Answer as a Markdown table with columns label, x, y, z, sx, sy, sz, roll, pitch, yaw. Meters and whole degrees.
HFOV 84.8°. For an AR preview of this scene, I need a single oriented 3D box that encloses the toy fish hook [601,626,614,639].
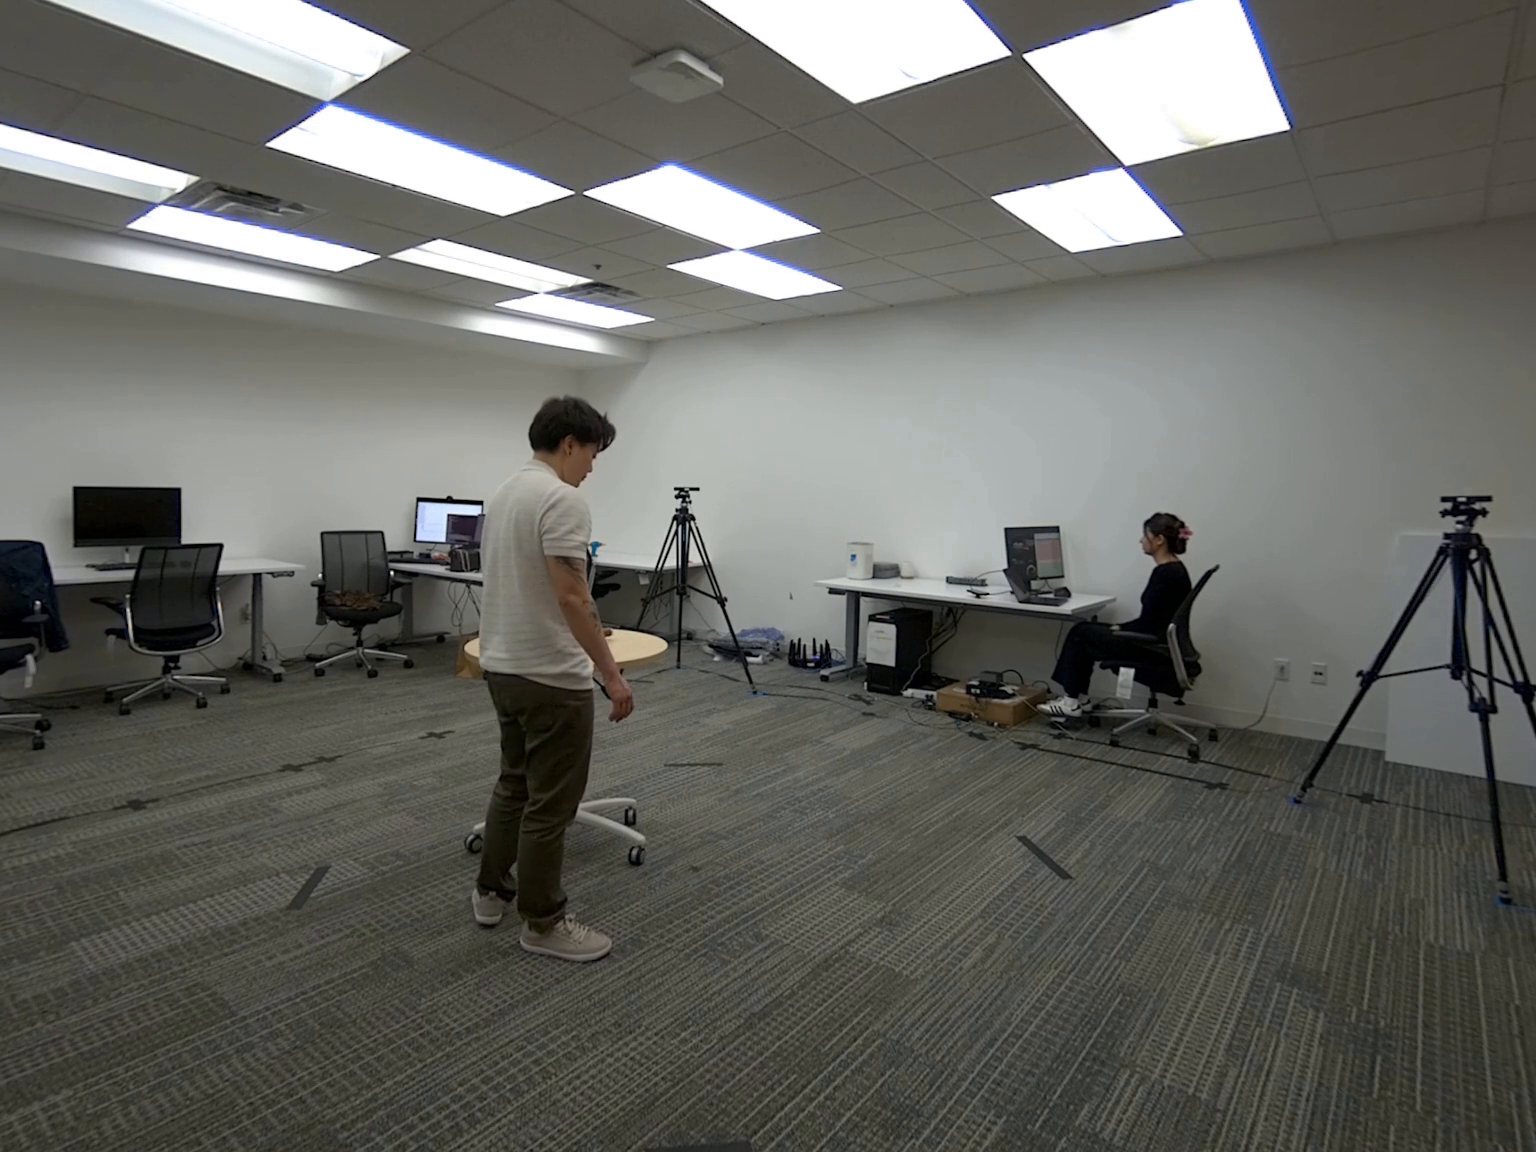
| label | x | y | z | sx | sy | sz | roll | pitch | yaw |
| --- | --- | --- | --- | --- | --- | --- | --- | --- | --- |
| toy fish hook | -0.846 | 0.239 | 3.260 | 0.491 | 0.048 | 0.232 | -5 | 8 | -43 |
